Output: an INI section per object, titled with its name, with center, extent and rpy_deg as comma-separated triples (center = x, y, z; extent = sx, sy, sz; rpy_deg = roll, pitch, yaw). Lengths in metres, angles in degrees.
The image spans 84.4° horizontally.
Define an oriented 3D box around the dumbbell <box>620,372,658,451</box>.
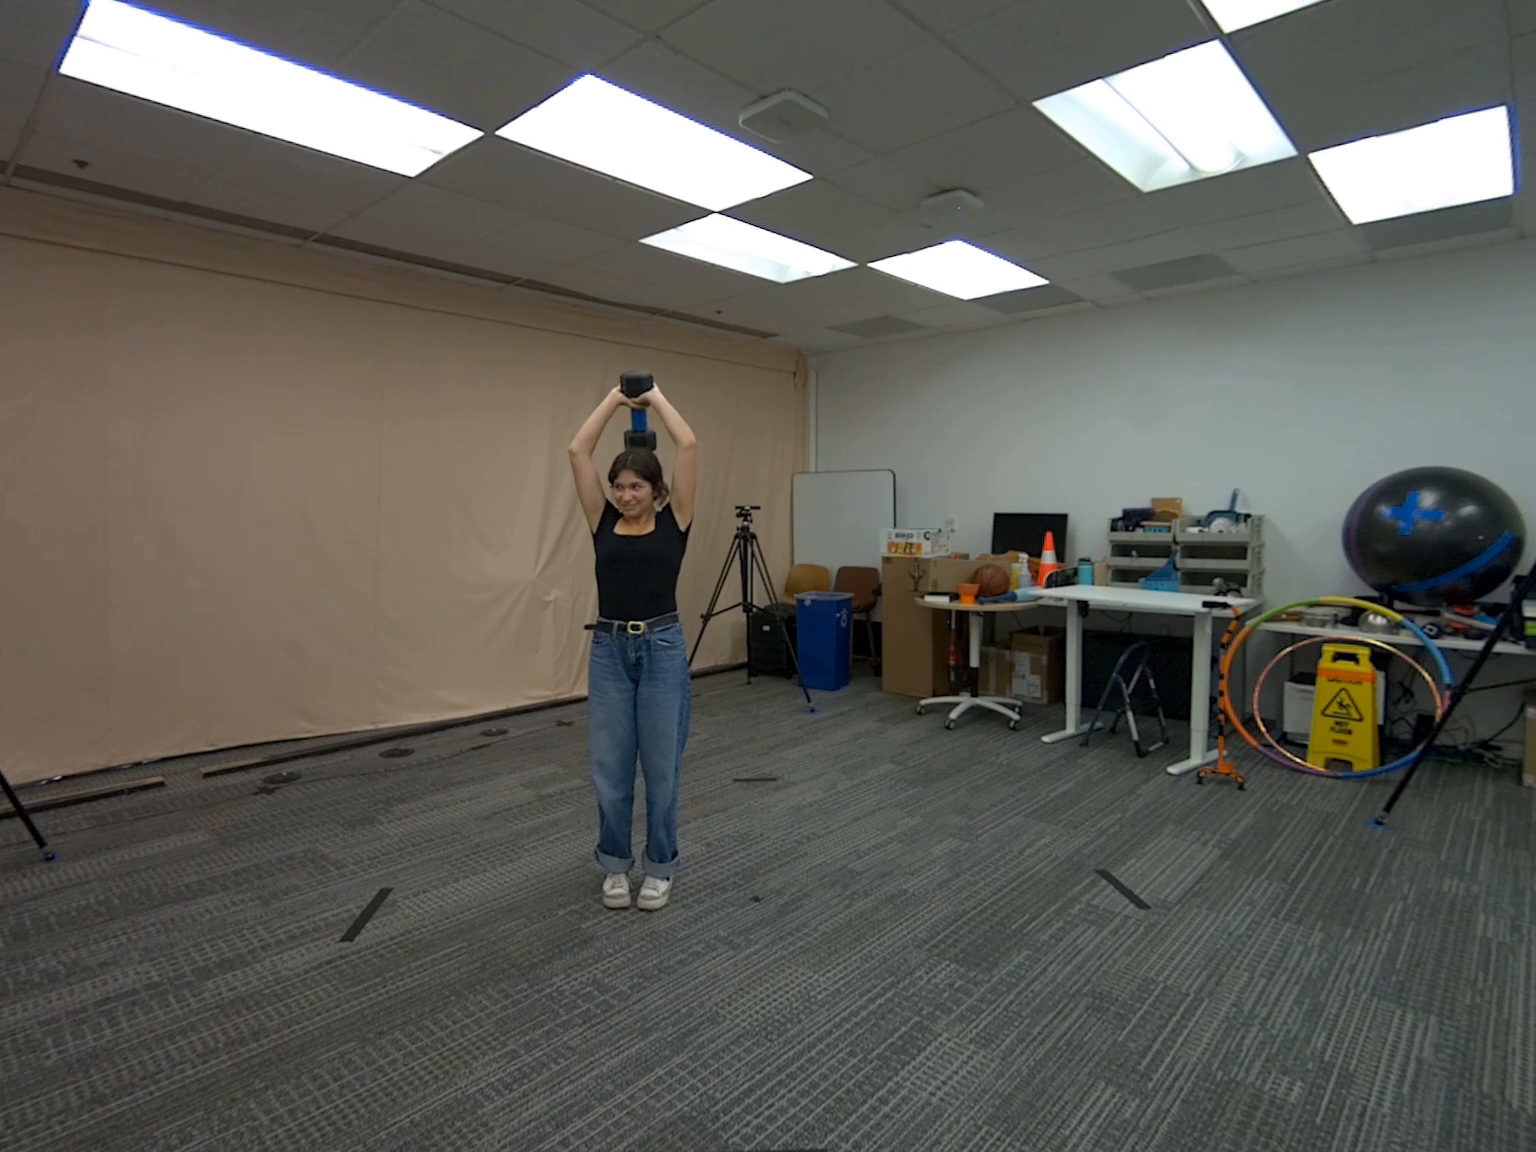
[dumbbell]
center = -0.477, -0.595, 3.106
extent = 0.112, 0.289, 0.120
rpy_deg = 15, 29, 35
